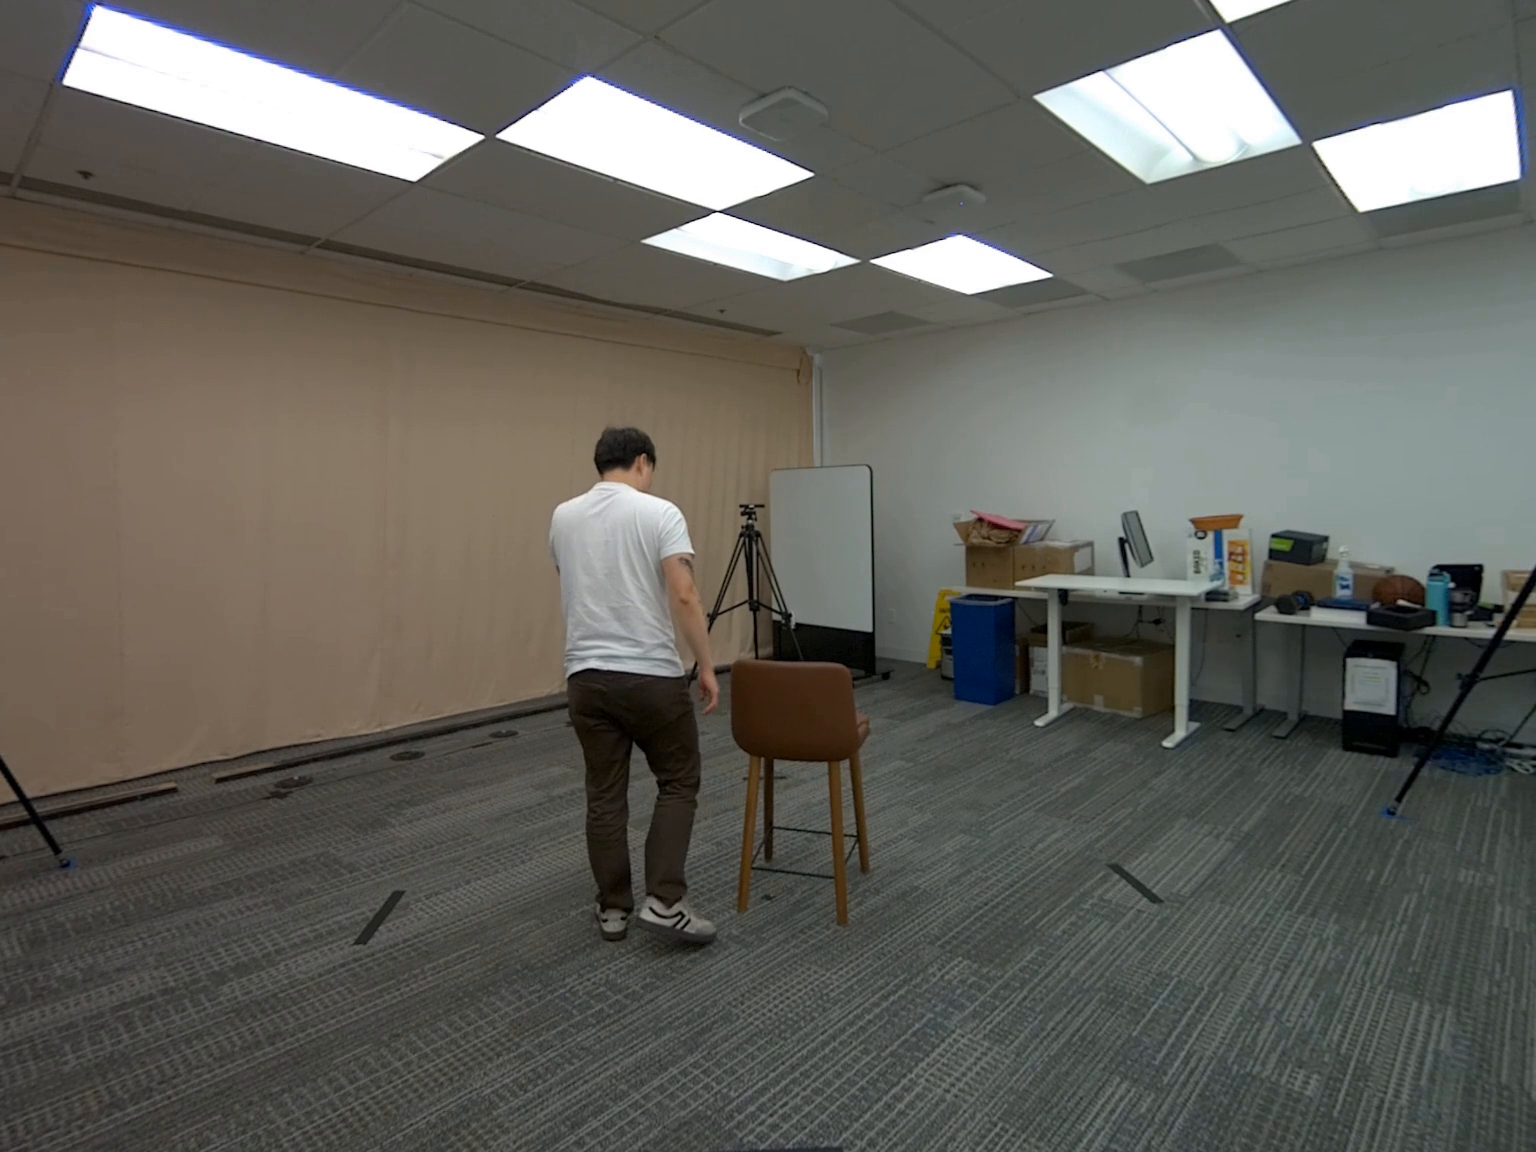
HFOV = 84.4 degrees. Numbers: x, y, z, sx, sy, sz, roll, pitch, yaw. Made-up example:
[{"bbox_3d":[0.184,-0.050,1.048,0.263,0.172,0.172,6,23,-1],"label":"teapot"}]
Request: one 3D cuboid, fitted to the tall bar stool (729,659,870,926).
[{"bbox_3d":[0.124,0.701,3.010,0.465,0.887,0.460,0,5,17],"label":"tall bar stool"}]
